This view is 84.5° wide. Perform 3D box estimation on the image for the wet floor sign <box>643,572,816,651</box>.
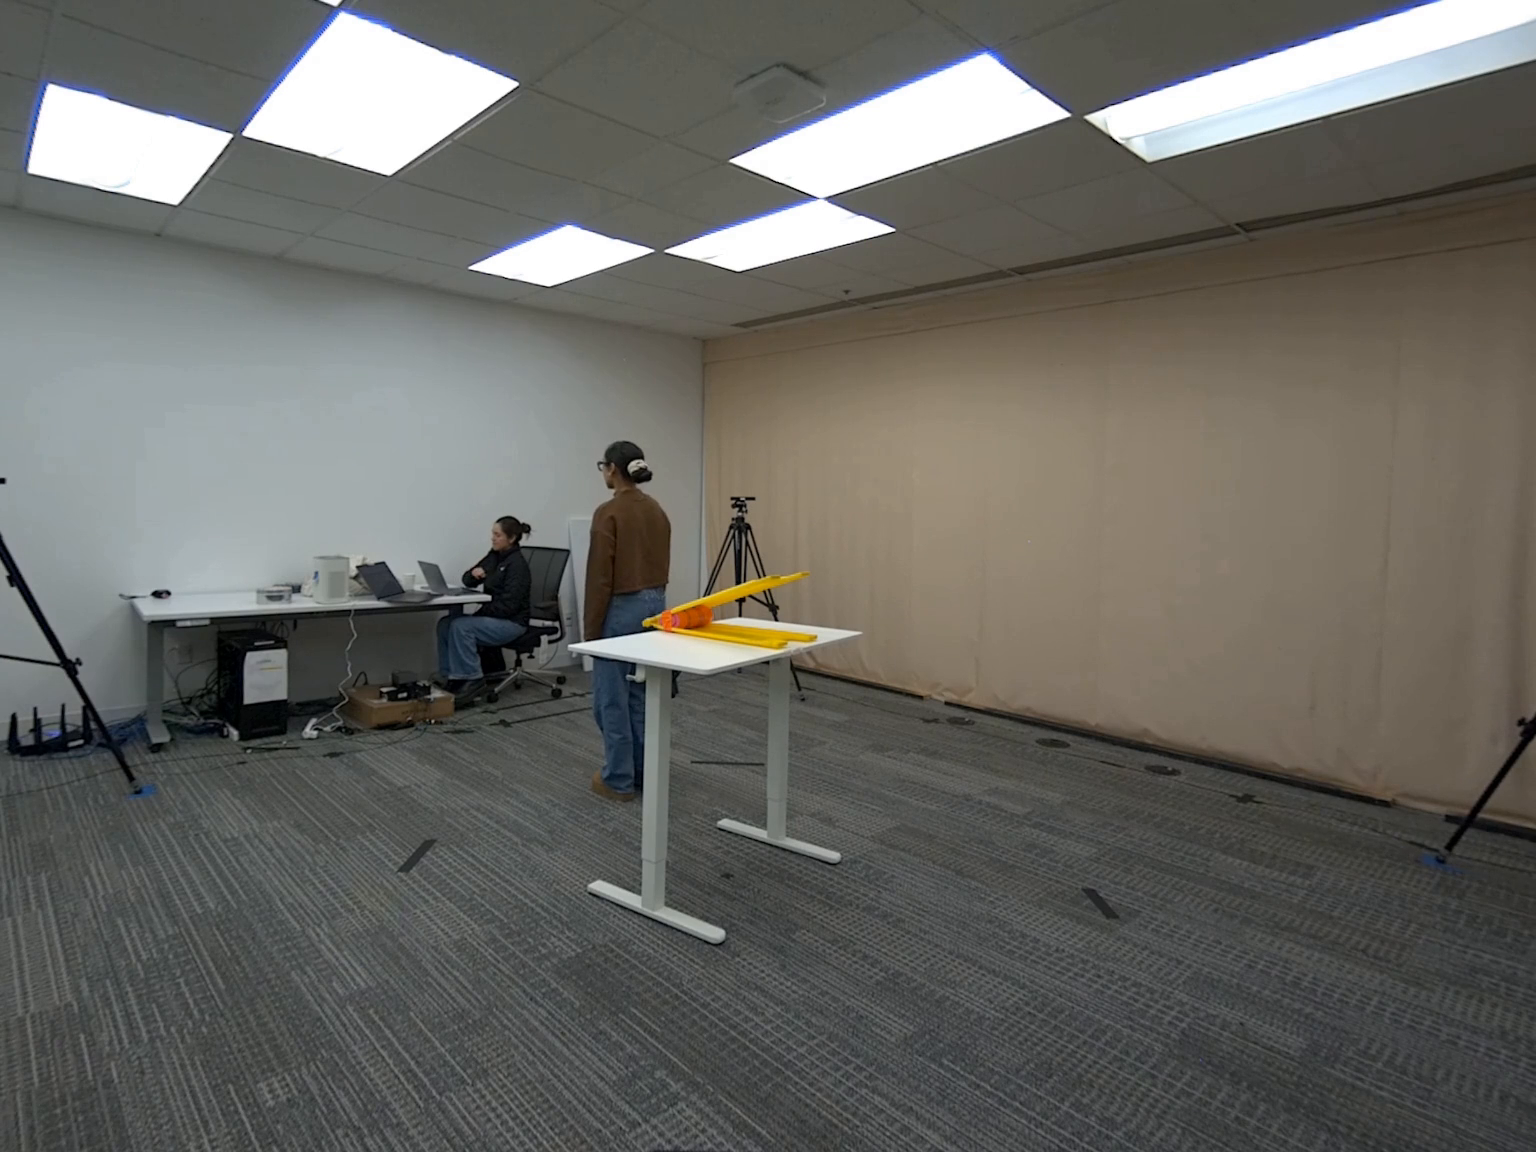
[{"bbox_3d":[-0.182,0.152,3.161,0.659,0.290,0.276,-5,0,35],"label":"wet floor sign"}]
